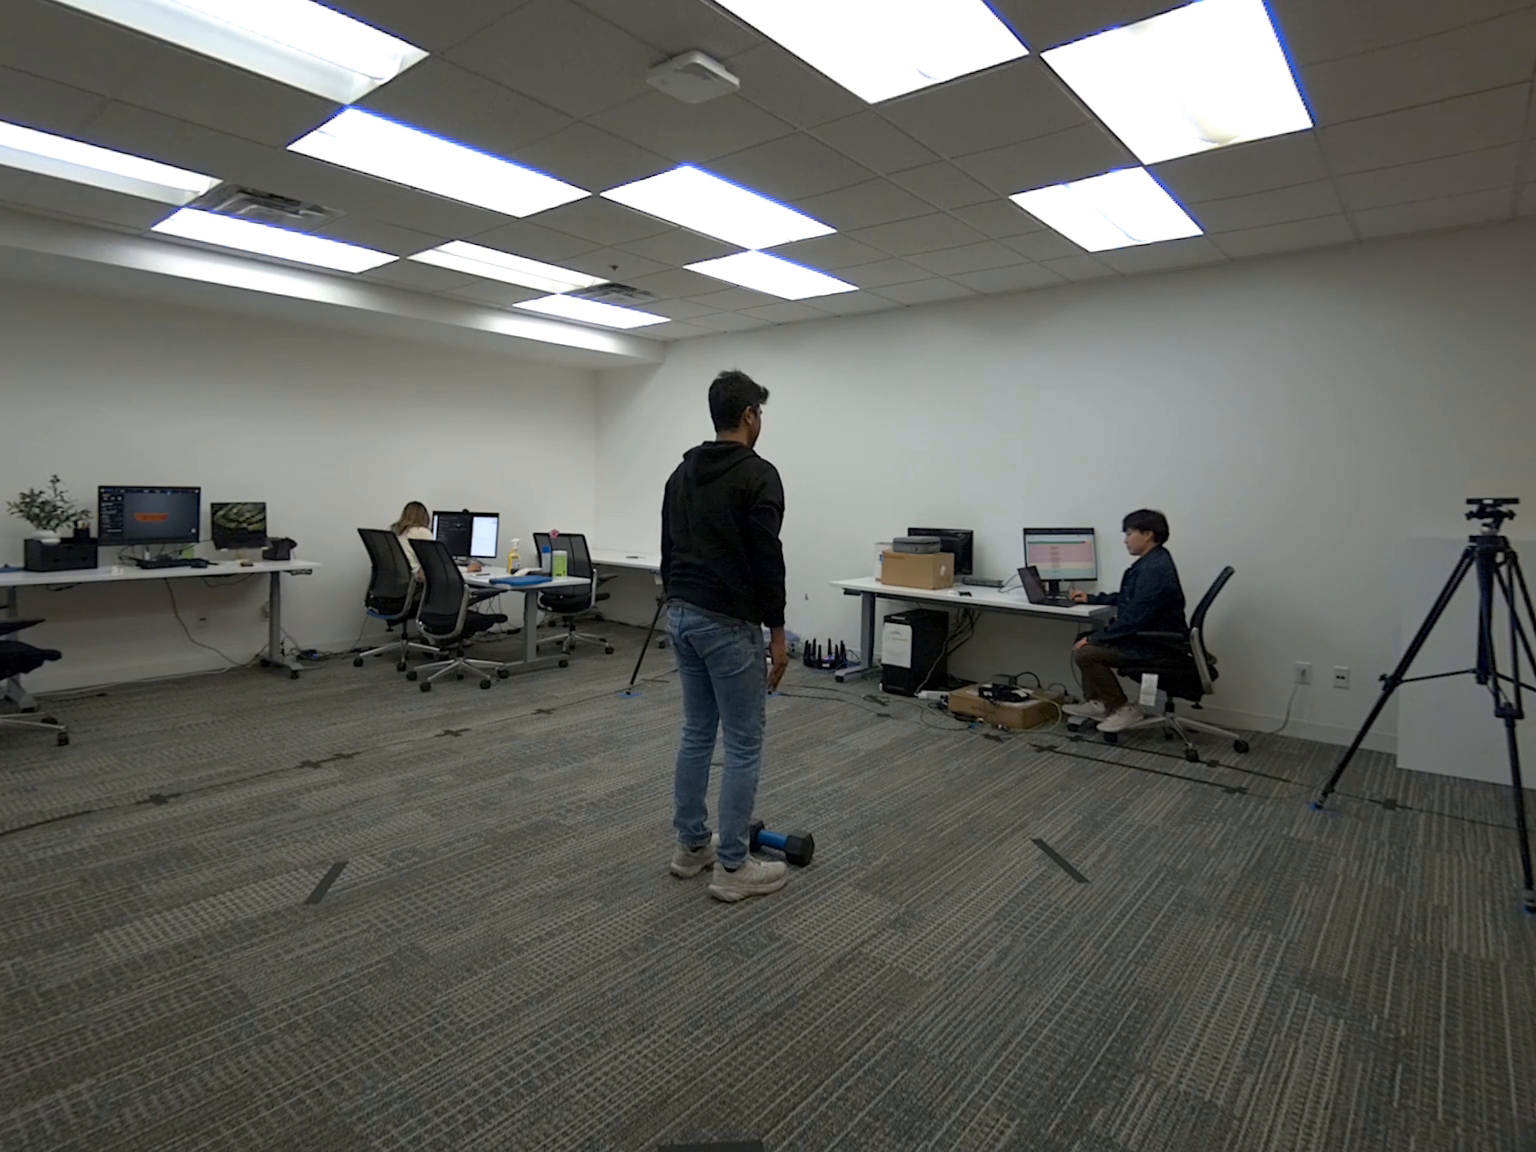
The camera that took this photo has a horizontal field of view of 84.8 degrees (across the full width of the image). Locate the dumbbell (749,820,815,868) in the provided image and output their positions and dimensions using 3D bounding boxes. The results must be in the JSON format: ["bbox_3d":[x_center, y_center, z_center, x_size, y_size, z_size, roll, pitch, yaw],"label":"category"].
[{"bbox_3d":[0.011,0.999,3.233,0.302,0.124,0.104,4,-24,32],"label":"dumbbell"}]
